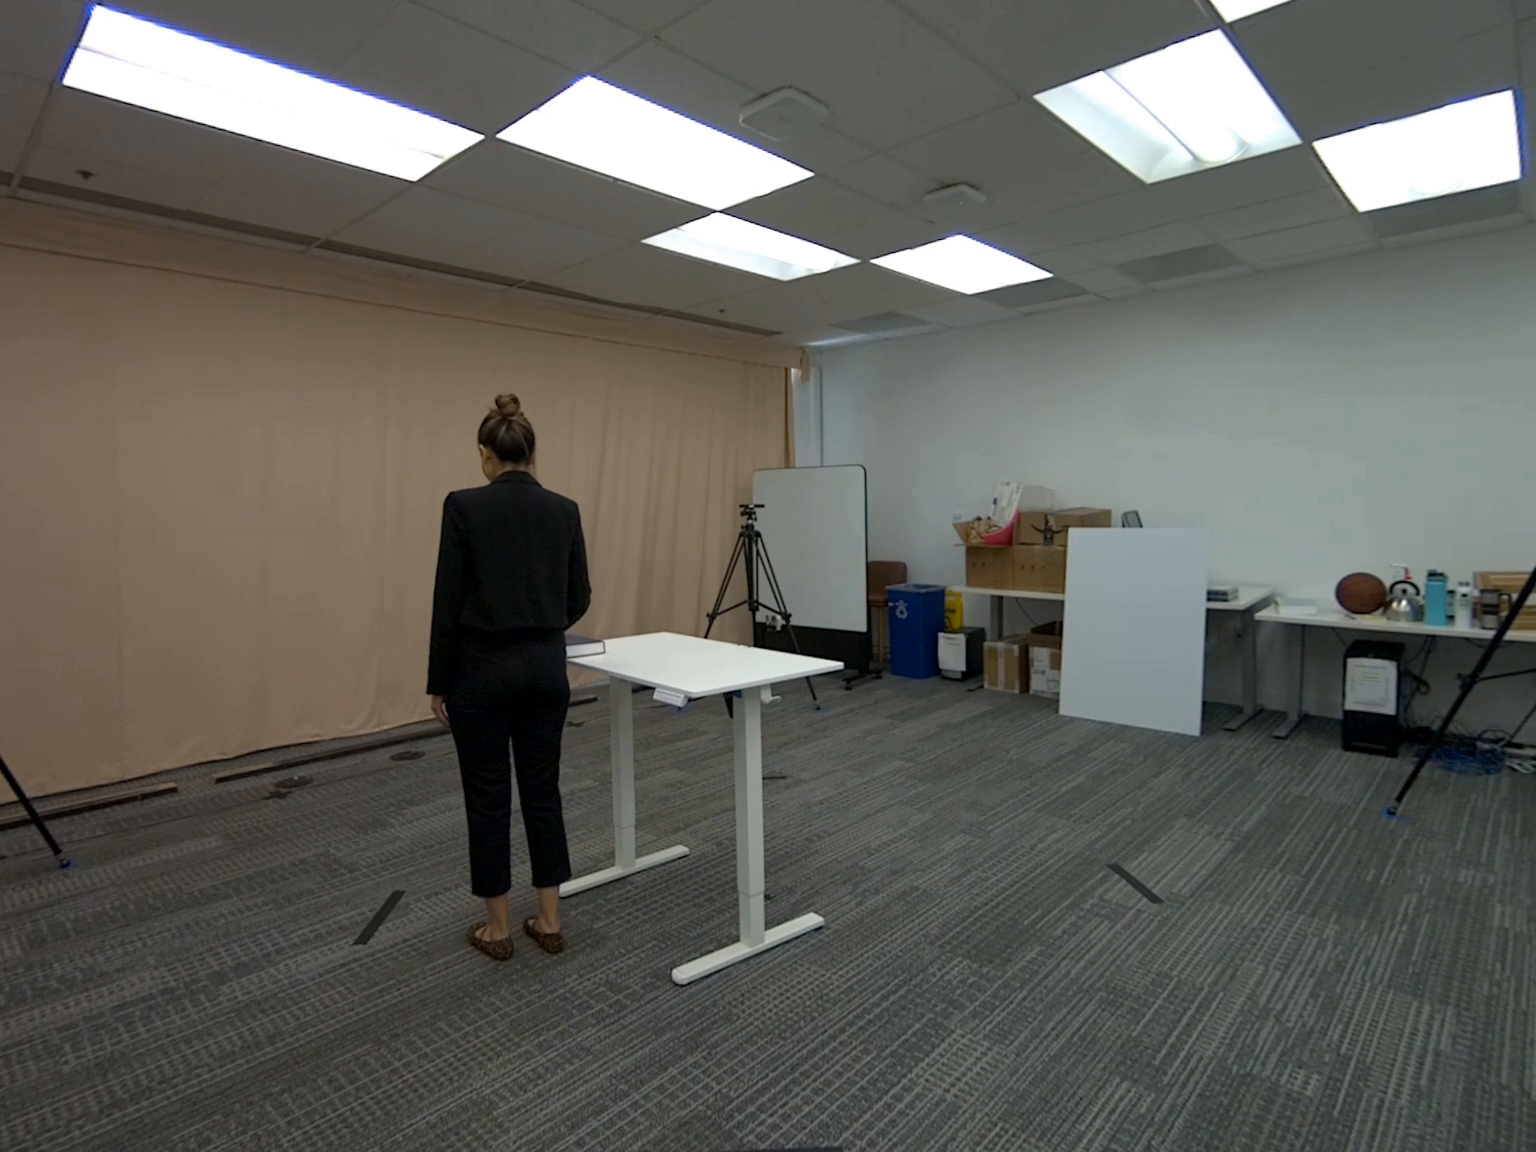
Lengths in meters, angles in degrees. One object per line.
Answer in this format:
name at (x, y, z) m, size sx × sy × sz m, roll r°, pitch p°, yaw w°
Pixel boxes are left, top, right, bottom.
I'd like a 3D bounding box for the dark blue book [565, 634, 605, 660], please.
dark blue book at (-0.714, 0.249, 3.018) m, size 0.158 × 0.045 × 0.253 m, roll -4°, pitch 5°, yaw -36°
